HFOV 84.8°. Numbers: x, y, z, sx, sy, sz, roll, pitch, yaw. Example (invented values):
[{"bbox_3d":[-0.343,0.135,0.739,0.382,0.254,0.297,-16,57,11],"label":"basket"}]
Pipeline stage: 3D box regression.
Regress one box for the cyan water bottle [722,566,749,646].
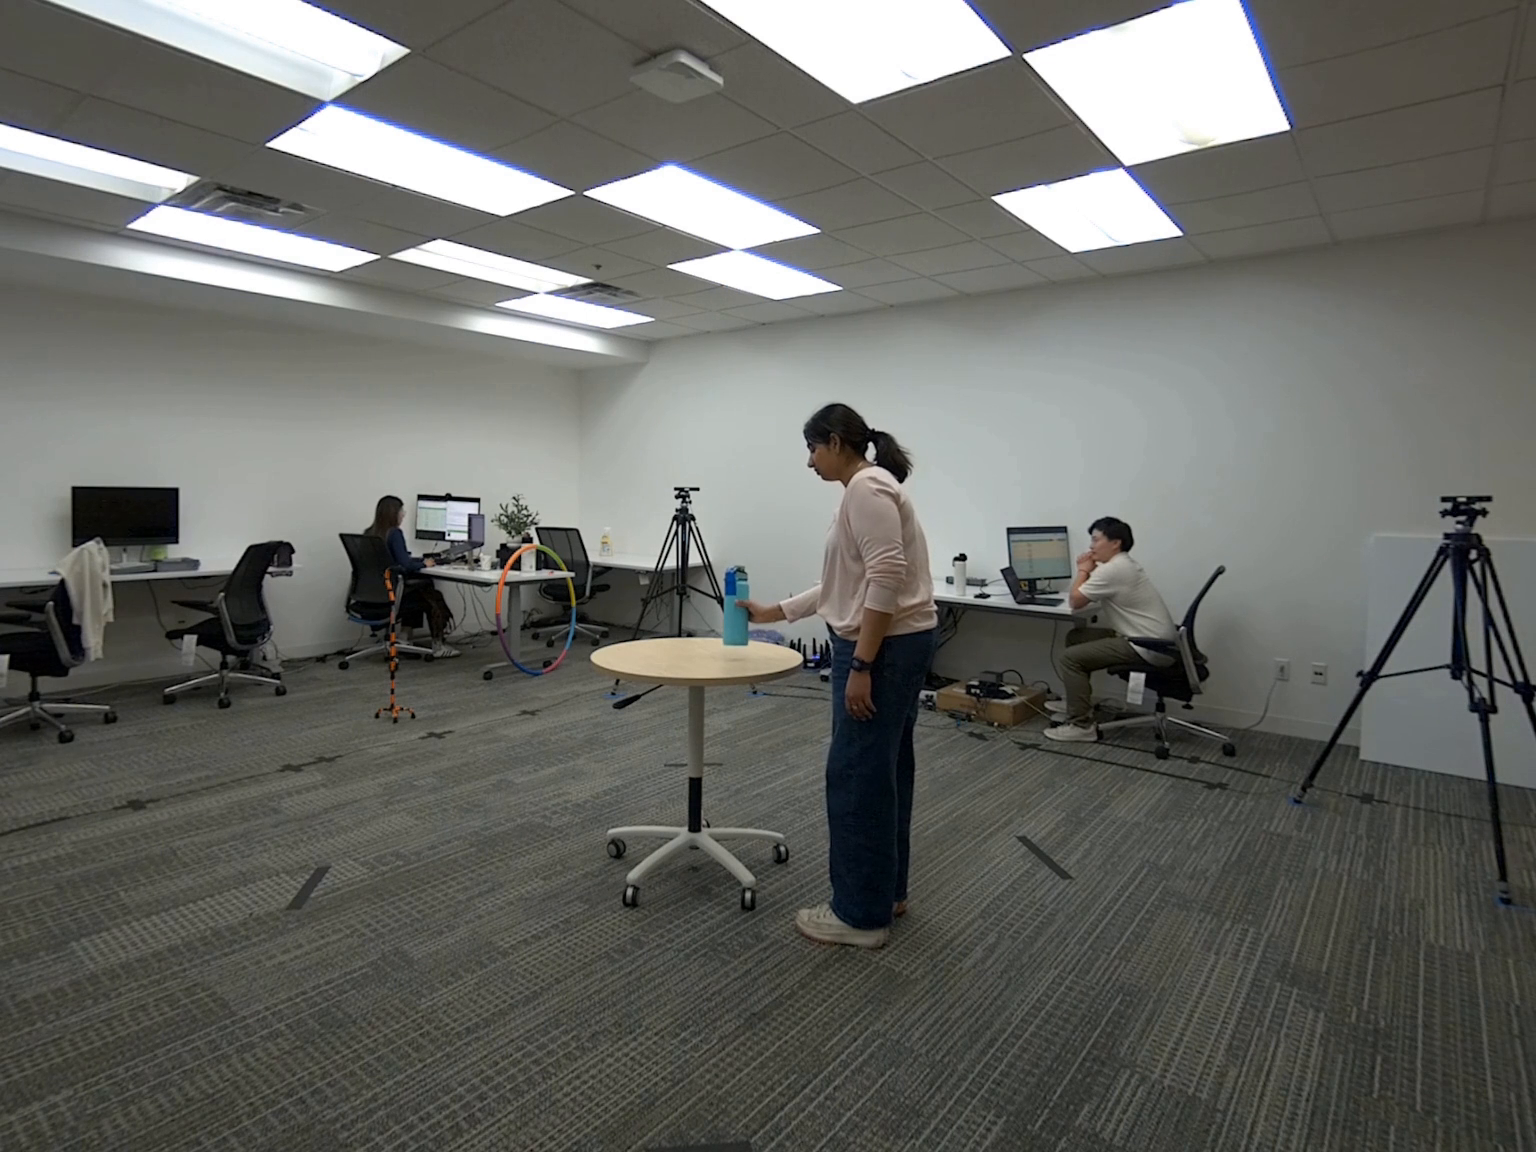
[{"bbox_3d":[-0.126,0.101,3.018,0.092,0.284,0.092,-1,-3,-2],"label":"cyan water bottle"}]
